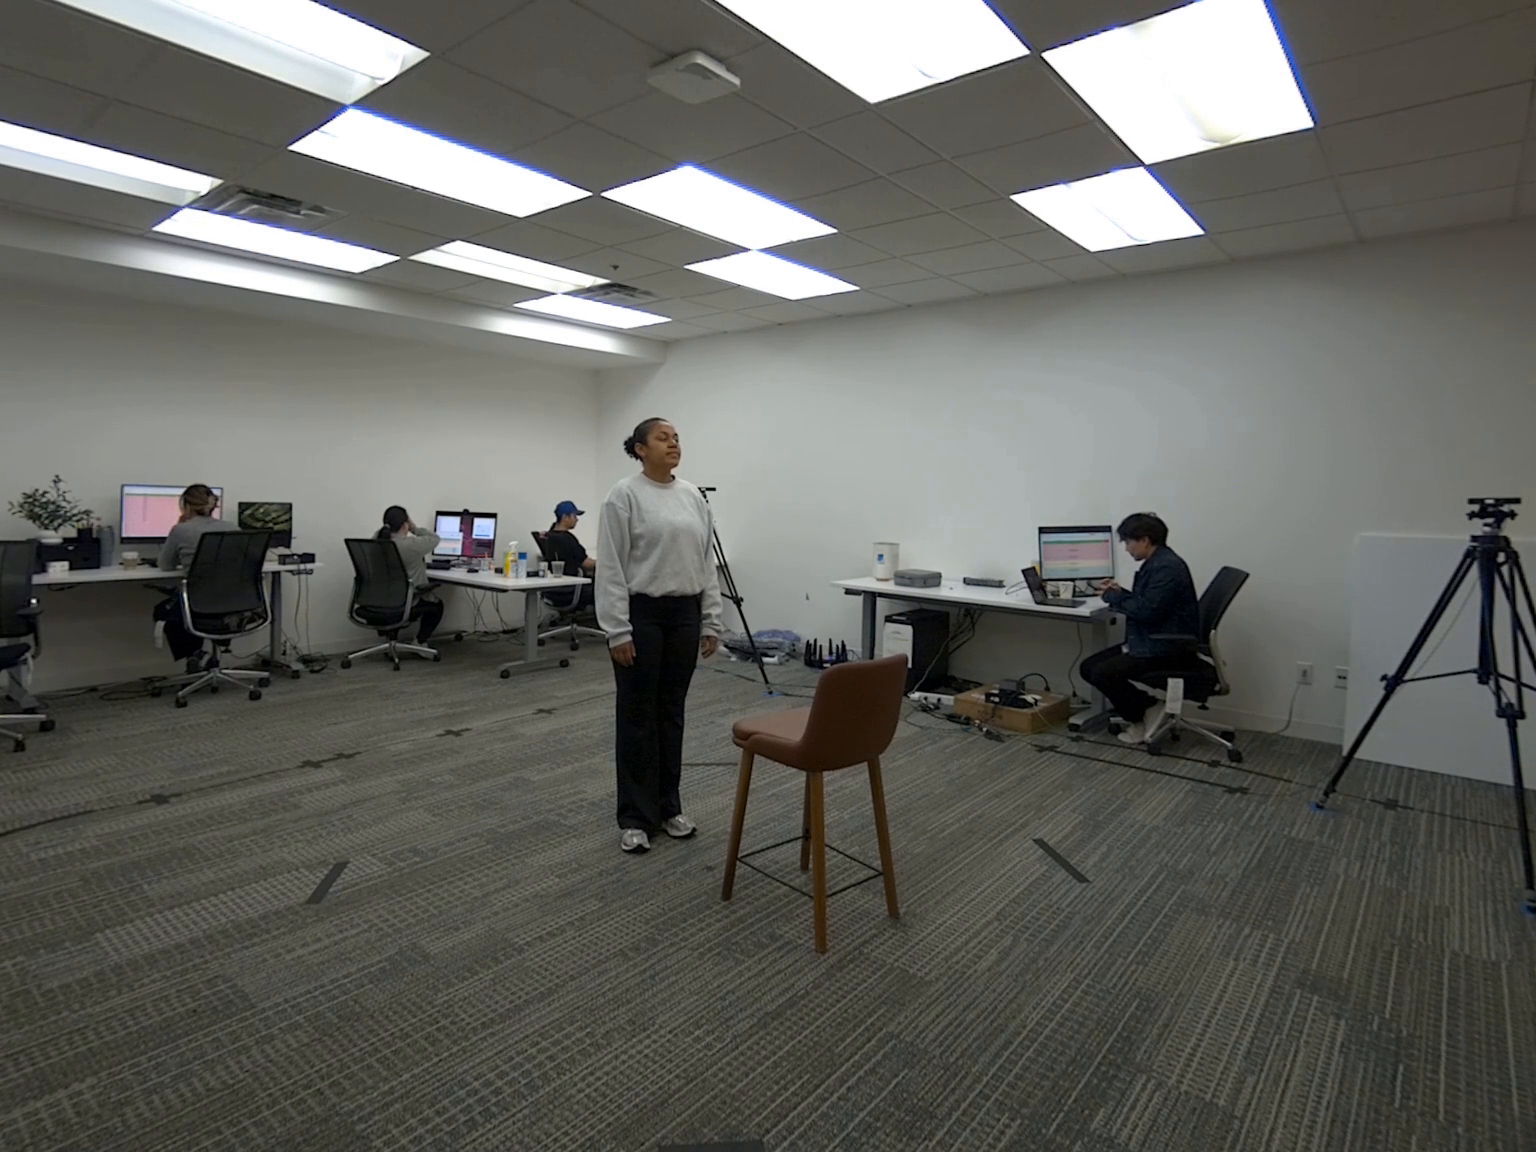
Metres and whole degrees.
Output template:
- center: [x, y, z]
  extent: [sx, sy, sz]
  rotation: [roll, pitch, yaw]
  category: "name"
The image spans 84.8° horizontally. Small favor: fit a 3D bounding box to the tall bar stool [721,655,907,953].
- center: [0.153, 0.668, 2.811]
  extent: [0.442, 0.886, 0.484]
  rotation: [-1, 6, -42]
  category: "tall bar stool"
